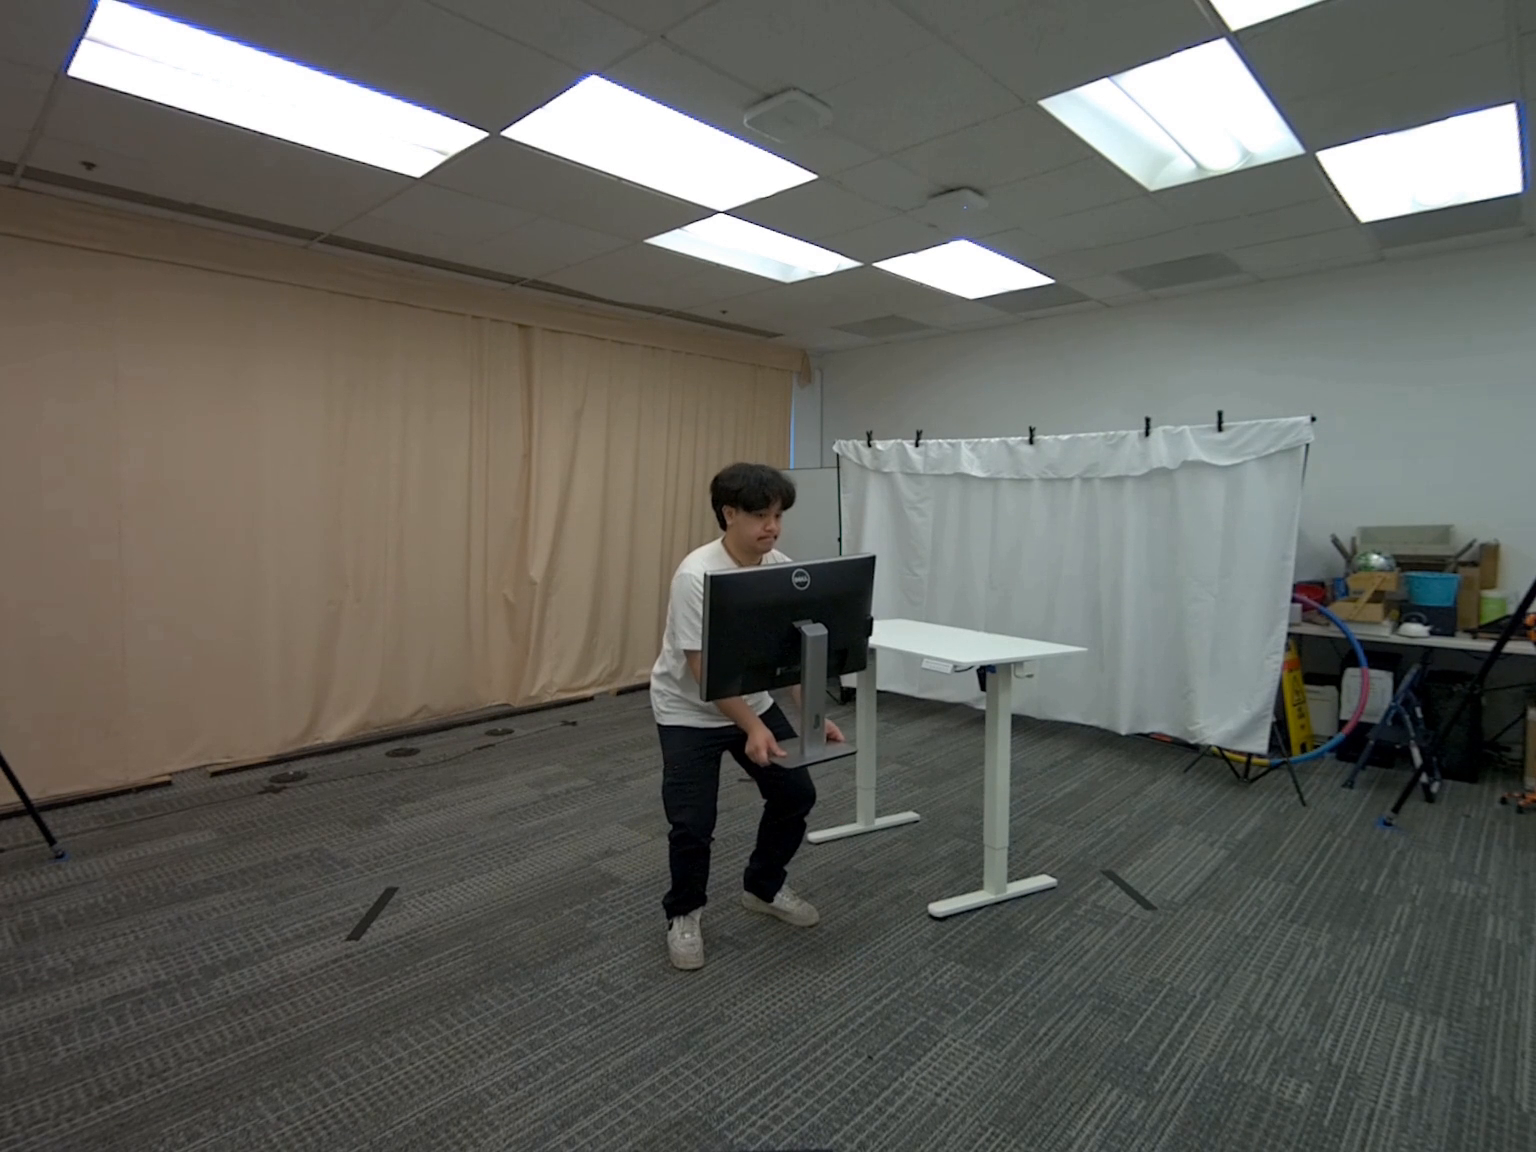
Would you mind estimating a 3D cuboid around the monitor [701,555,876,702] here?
[{"bbox_3d":[0.102,0.239,2.323,0.551,0.551,0.217,-6,10,-30],"label":"monitor"}]
